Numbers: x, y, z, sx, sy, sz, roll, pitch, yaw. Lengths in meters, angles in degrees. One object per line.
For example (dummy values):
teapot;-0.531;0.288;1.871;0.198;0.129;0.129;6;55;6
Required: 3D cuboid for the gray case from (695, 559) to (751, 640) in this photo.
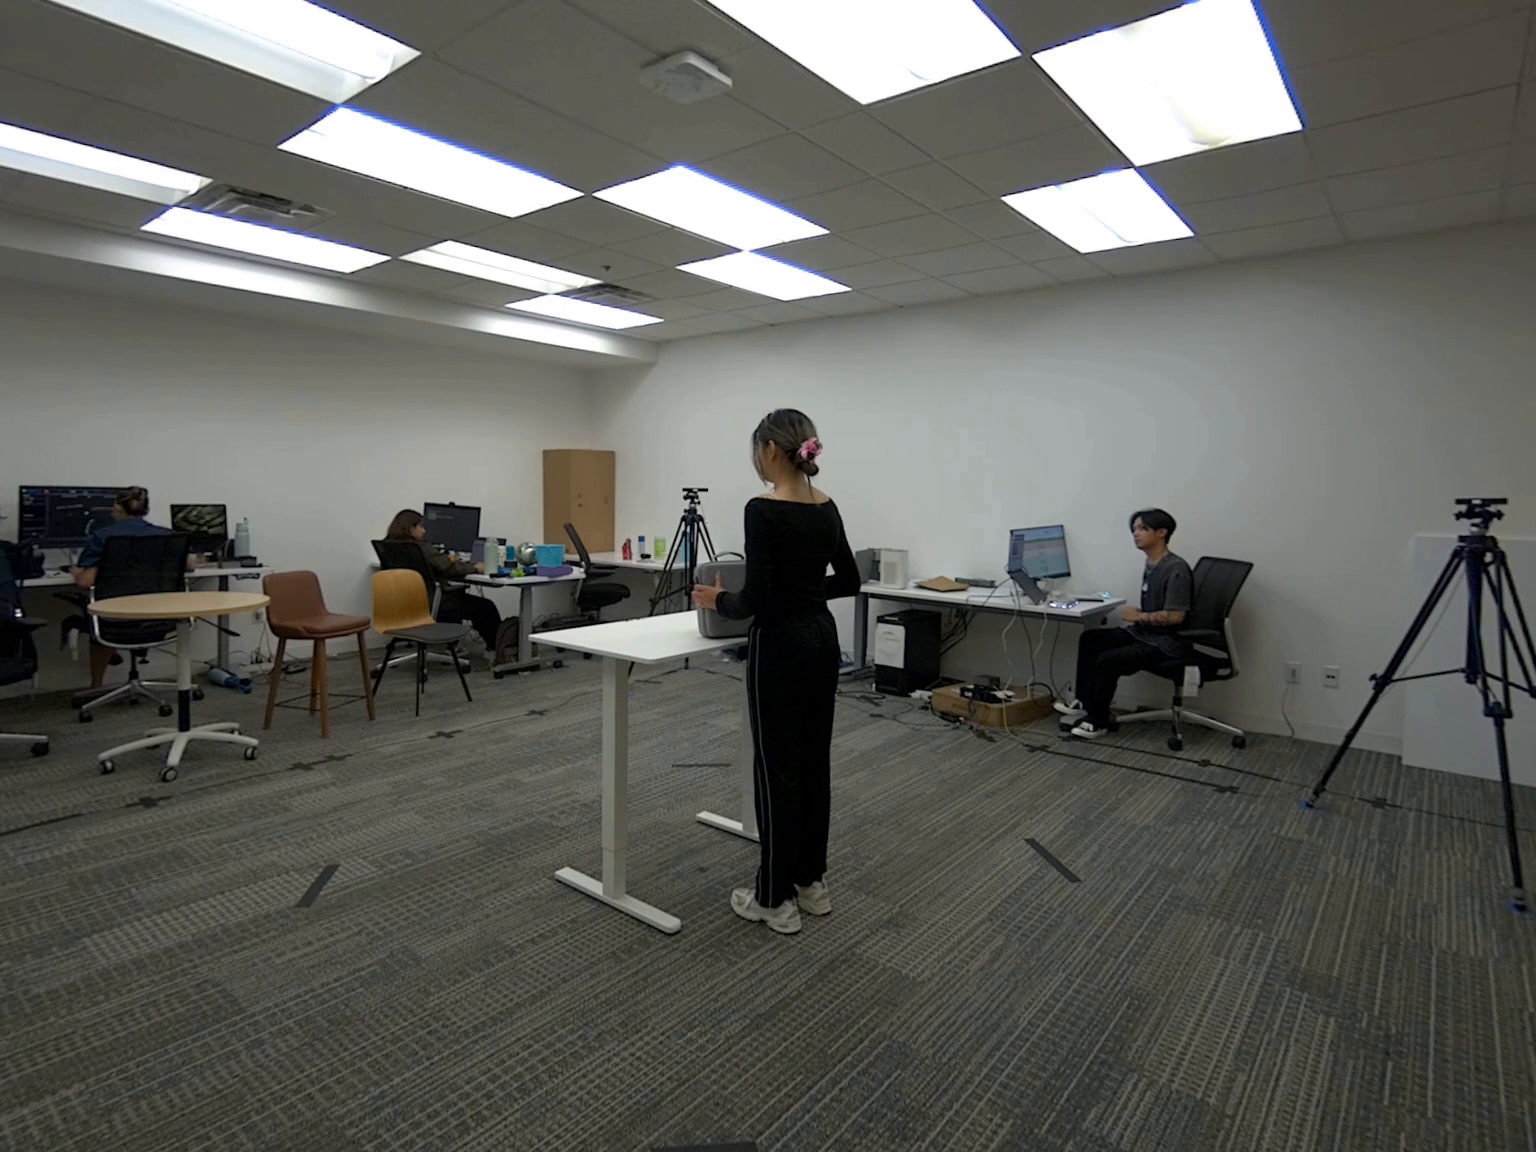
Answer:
gray case;-0.134;0.075;2.948;0.251;0.263;0.106;-1;-8;-26
